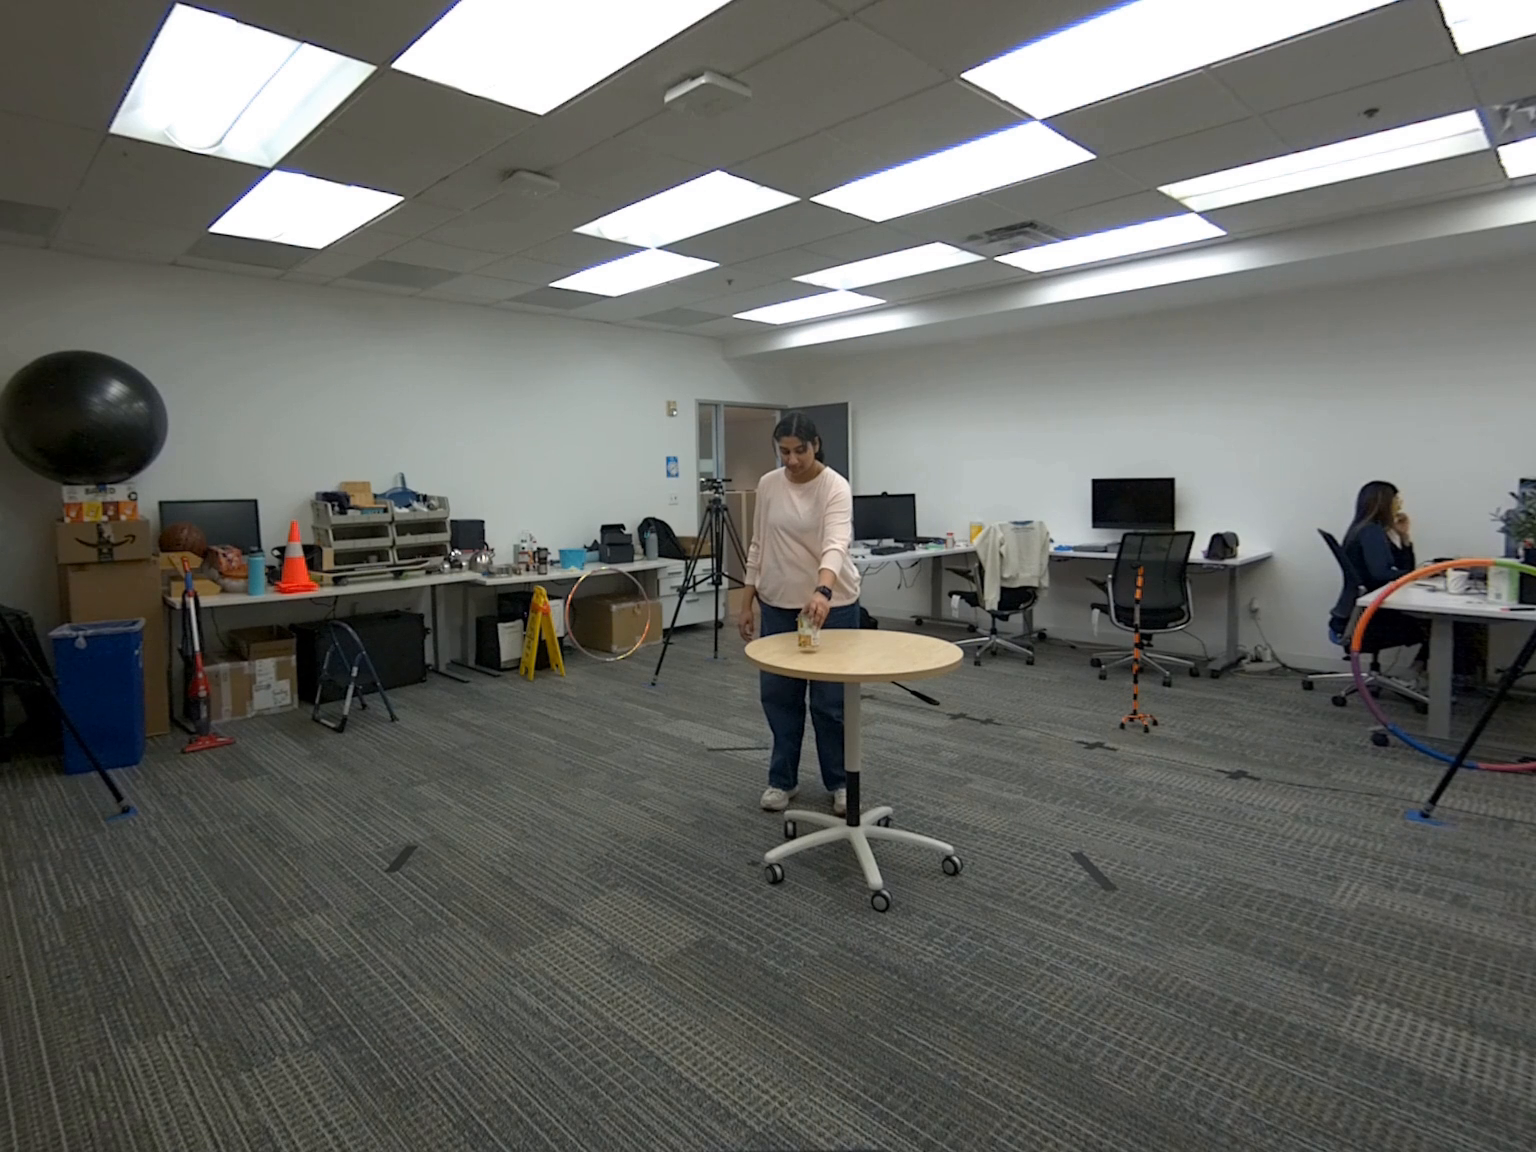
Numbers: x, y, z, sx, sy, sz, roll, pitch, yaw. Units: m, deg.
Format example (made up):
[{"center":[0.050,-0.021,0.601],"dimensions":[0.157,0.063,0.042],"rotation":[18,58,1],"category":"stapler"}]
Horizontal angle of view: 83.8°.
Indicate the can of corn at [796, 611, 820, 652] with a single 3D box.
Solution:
[{"center":[0.147,0.191,3.004],"dimensions":[0.074,0.111,0.074],"rotation":[0,1,-2],"category":"can of corn"}]
